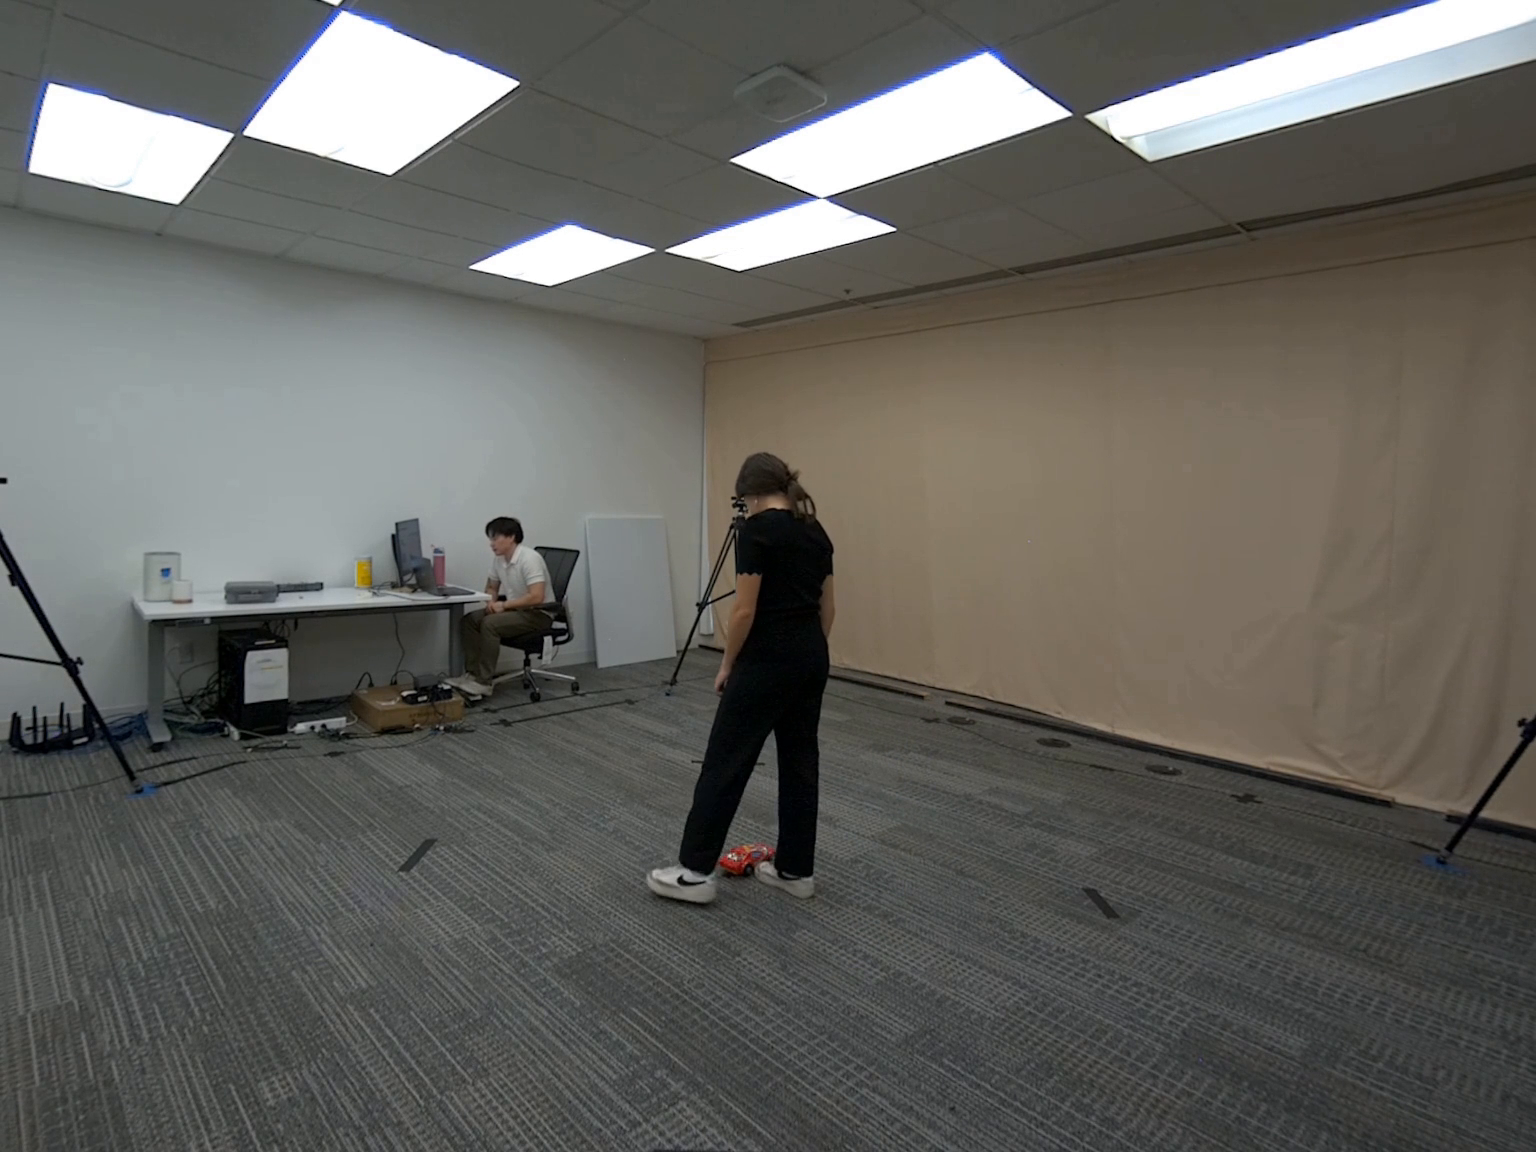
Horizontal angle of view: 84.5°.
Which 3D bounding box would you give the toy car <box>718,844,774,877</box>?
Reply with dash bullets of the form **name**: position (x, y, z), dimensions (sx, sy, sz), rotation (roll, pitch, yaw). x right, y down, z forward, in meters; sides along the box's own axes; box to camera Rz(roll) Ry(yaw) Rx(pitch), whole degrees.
- **toy car**: position (-0.092, 1.068, 3.171), dimensions (0.133, 0.083, 0.247), rotation (6, -4, 41)
